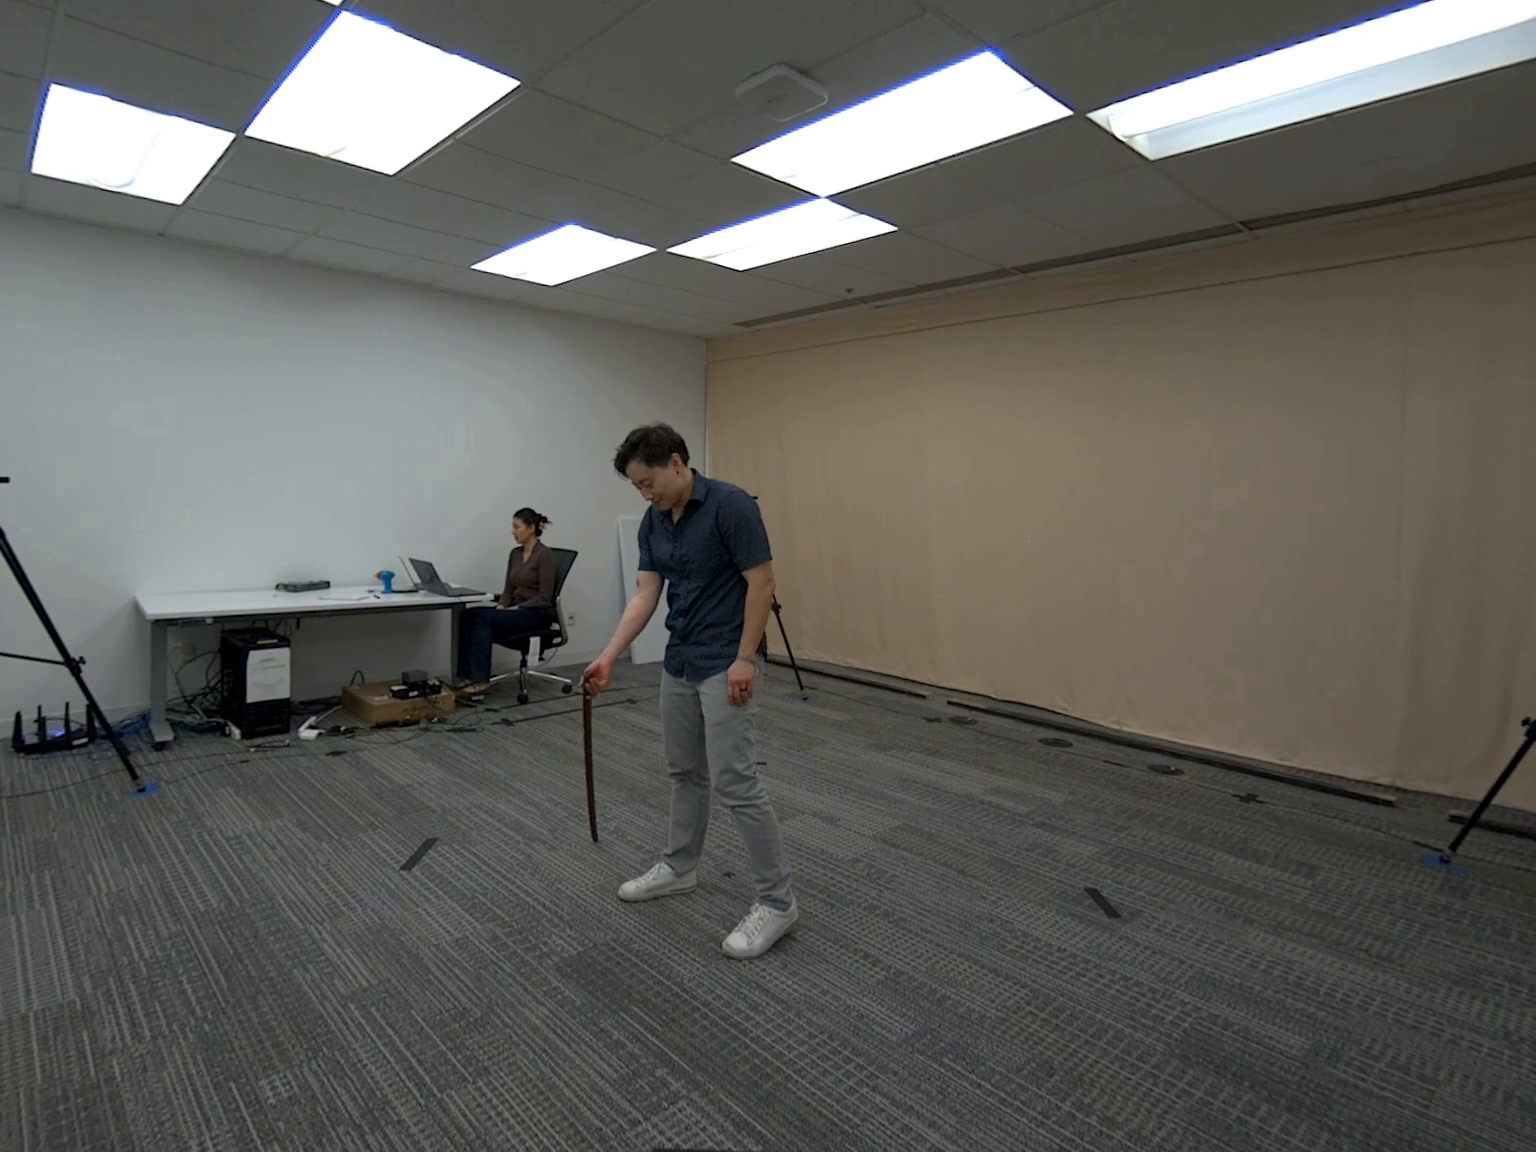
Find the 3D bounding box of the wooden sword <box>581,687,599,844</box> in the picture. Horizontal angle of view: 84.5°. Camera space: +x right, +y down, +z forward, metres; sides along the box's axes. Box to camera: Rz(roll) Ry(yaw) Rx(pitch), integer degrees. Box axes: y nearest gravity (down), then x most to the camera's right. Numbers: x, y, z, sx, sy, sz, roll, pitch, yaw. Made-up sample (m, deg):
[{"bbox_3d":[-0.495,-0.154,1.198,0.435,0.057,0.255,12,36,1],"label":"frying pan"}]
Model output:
[{"bbox_3d":[-0.648,0.702,3.057,0.024,1.004,0.052,0,42,-5],"label":"wooden sword"}]
